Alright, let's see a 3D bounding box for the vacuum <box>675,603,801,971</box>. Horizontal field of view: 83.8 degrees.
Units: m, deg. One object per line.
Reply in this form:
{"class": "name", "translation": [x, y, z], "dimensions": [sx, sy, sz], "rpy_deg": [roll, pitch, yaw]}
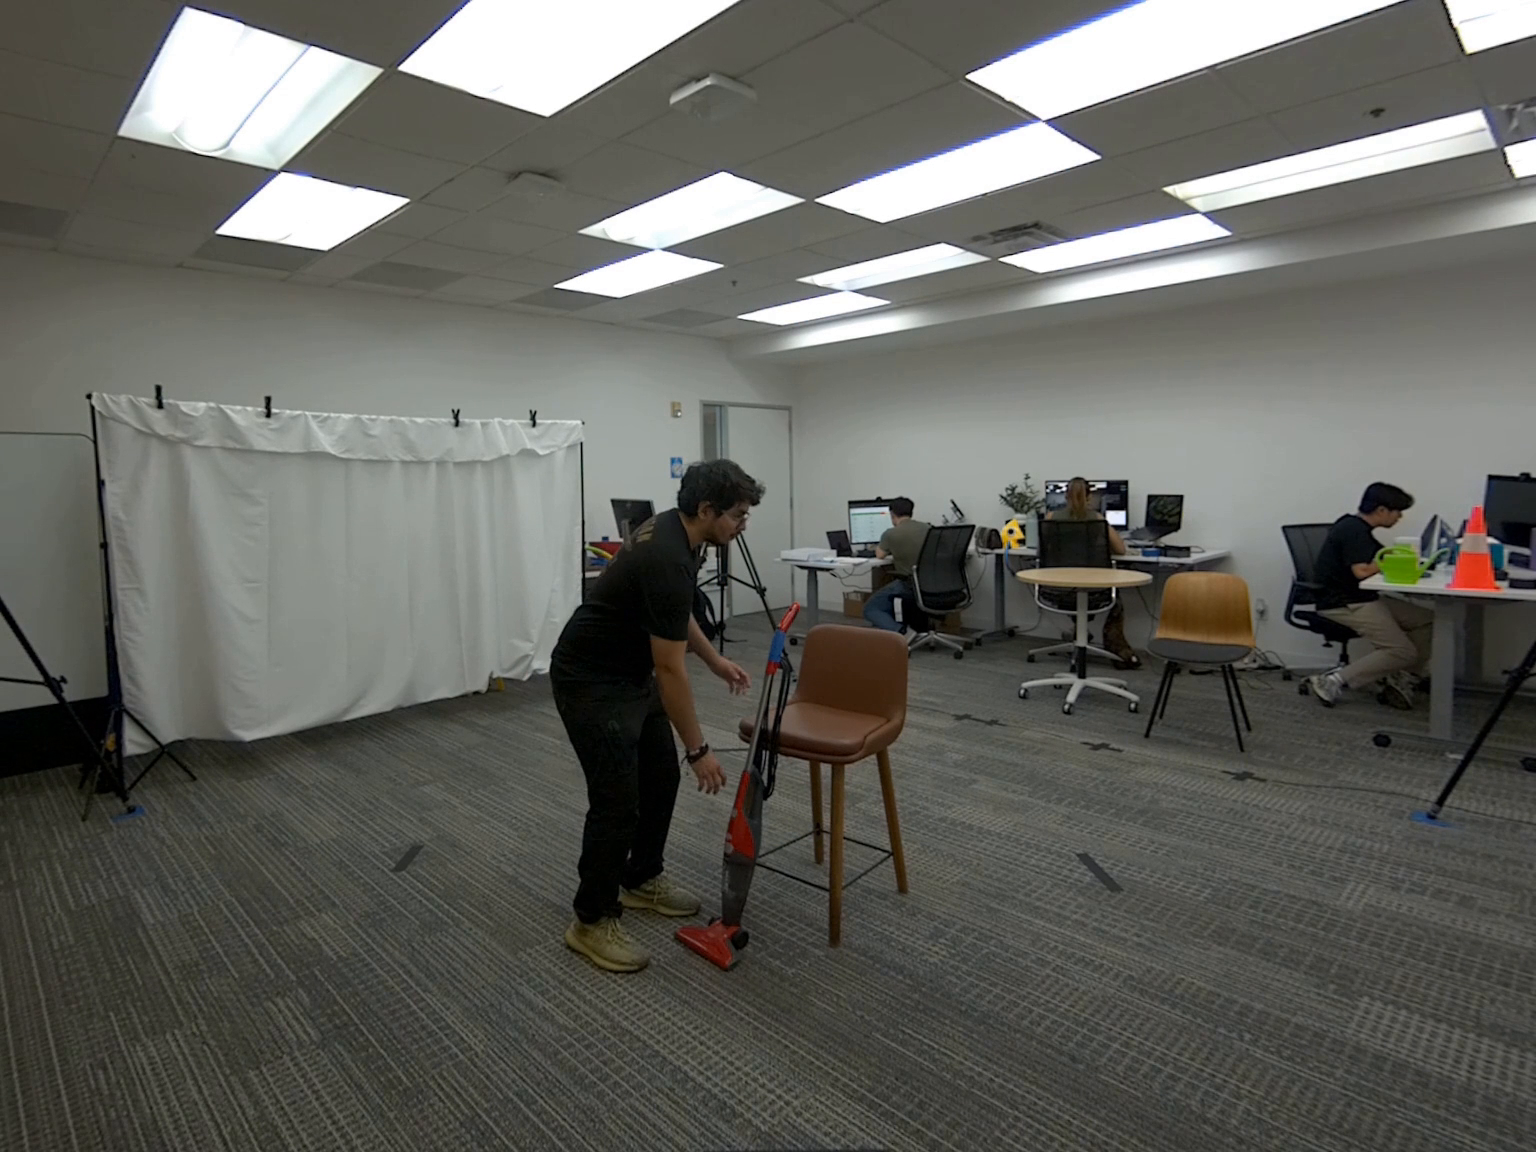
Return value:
{"class": "vacuum", "translation": [-0.031, 0.610, 2.646], "dimensions": [0.139, 1.056, 0.260], "rpy_deg": [22, -12, -39]}
